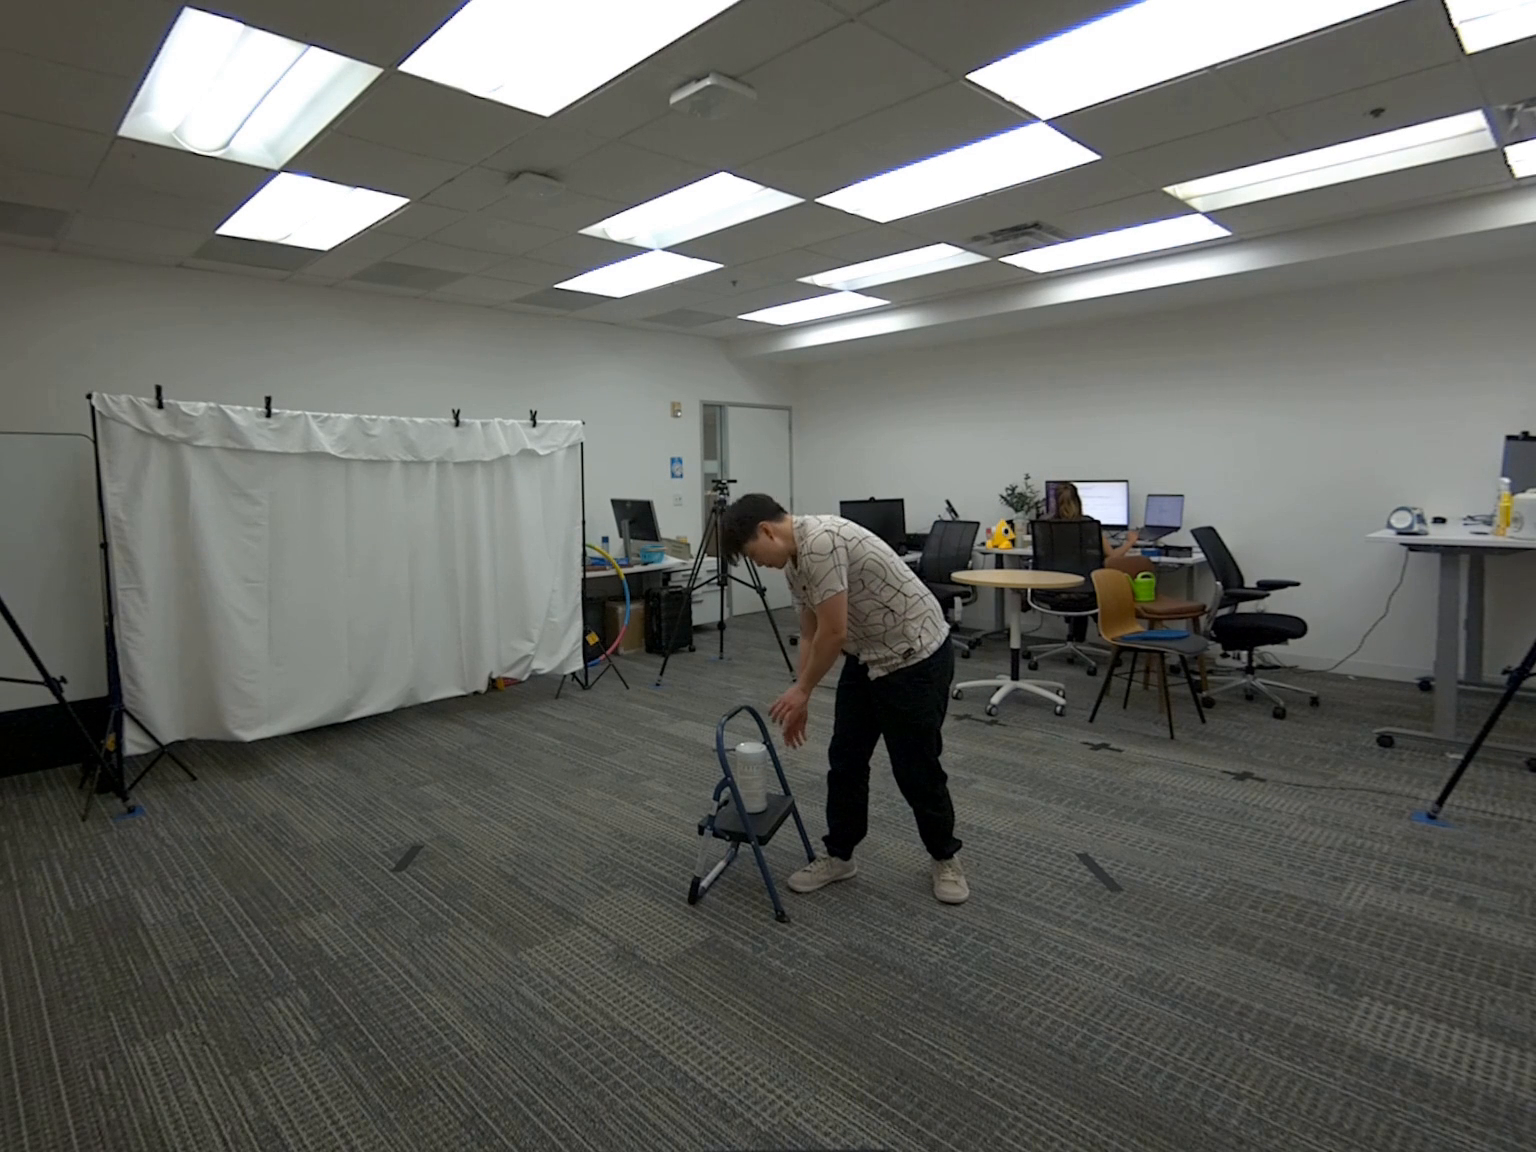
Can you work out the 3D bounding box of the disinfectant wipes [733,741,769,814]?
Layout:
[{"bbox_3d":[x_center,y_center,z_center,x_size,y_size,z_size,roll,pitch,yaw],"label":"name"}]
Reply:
[{"bbox_3d":[-0.054,0.701,2.950,0.118,0.216,0.118,-1,5,-2],"label":"disinfectant wipes"}]
